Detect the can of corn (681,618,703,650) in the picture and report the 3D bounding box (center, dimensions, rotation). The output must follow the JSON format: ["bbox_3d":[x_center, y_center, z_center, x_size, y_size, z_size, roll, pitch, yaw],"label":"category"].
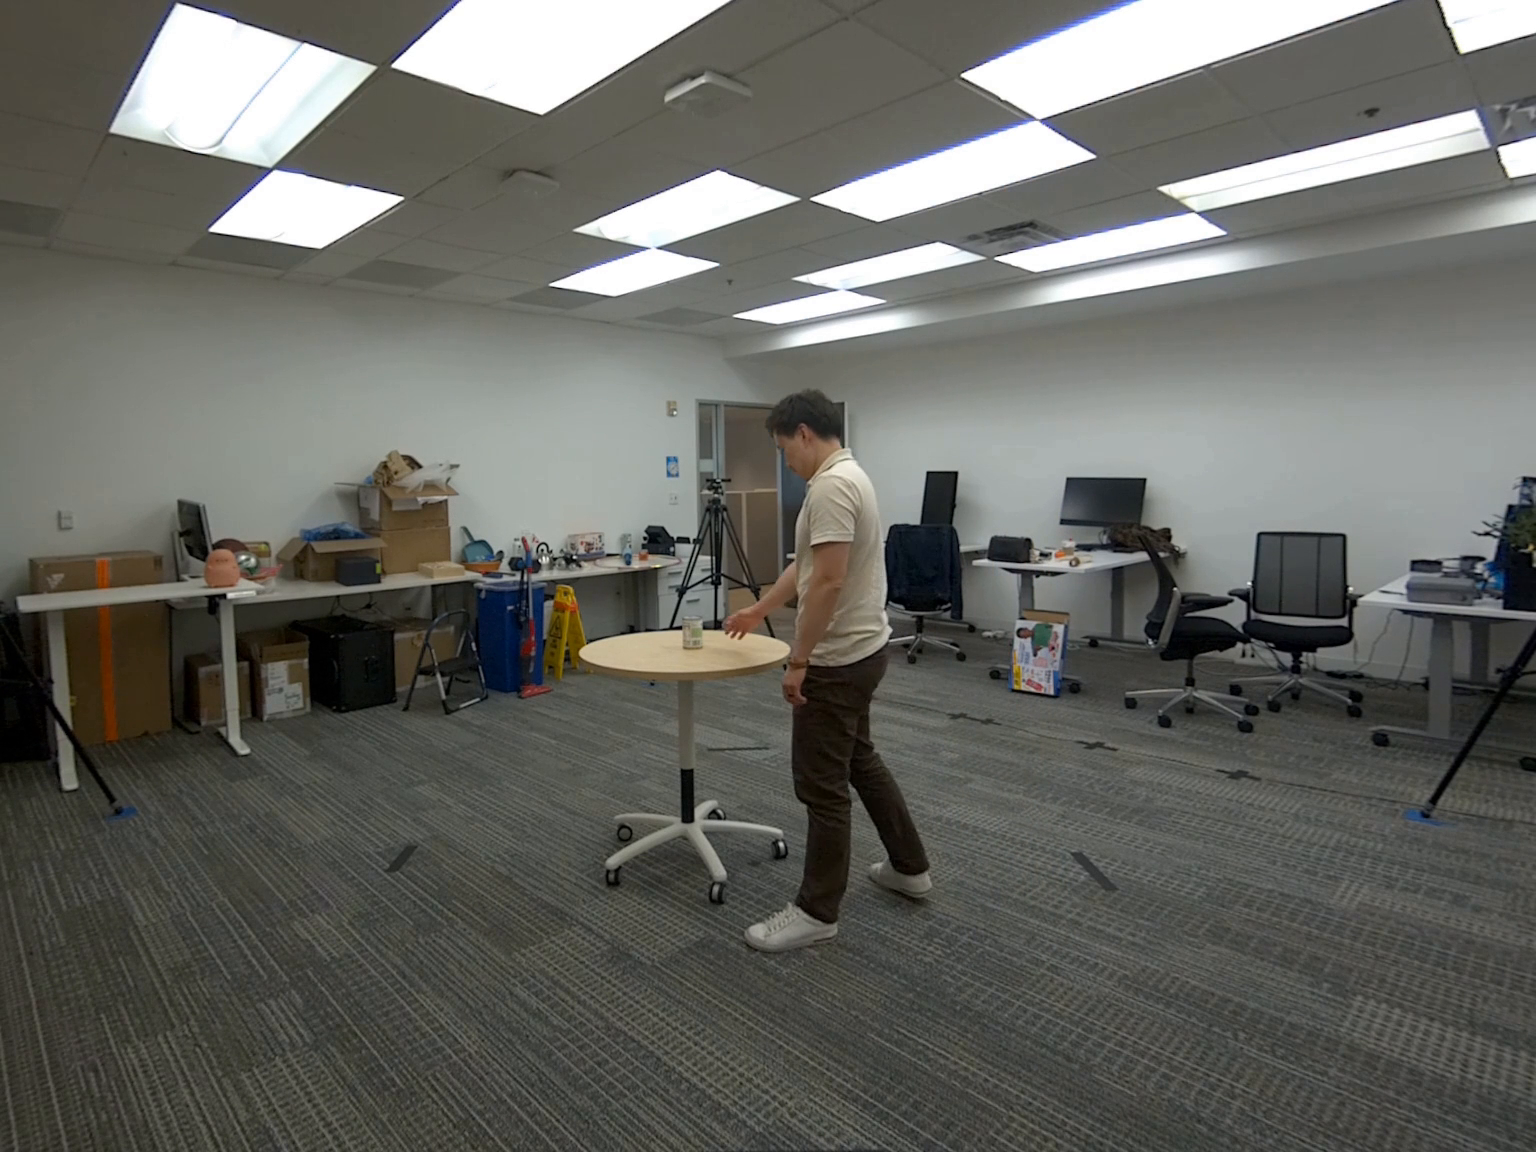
[{"bbox_3d":[-0.270,0.204,3.119,0.074,0.111,0.074,-1,4,-2],"label":"can of corn"}]
